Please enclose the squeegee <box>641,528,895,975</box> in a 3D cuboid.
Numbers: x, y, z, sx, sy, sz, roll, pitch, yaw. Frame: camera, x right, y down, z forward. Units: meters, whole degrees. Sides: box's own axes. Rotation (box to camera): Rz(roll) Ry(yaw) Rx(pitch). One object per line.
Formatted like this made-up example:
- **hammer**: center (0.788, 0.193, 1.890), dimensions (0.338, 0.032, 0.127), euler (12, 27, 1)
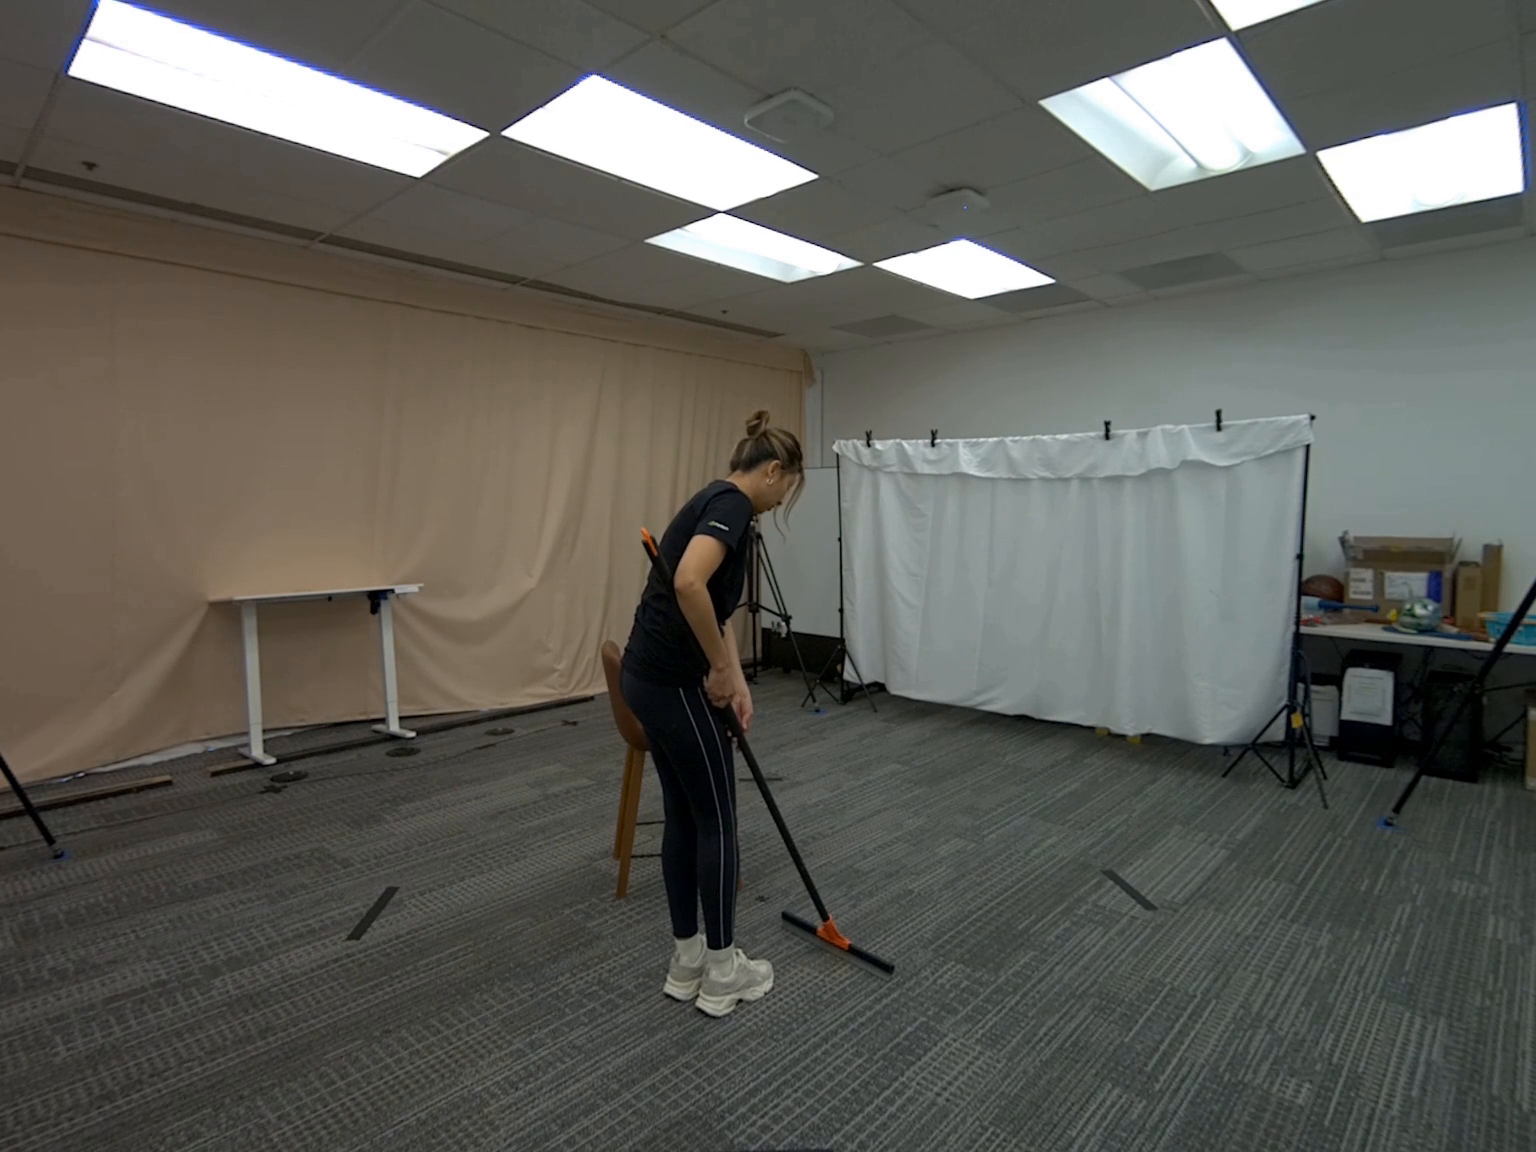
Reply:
- **squeegee**: center (-0.017, 0.517, 2.322), dimensions (0.452, 1.502, 0.052), euler (4, 35, 41)
